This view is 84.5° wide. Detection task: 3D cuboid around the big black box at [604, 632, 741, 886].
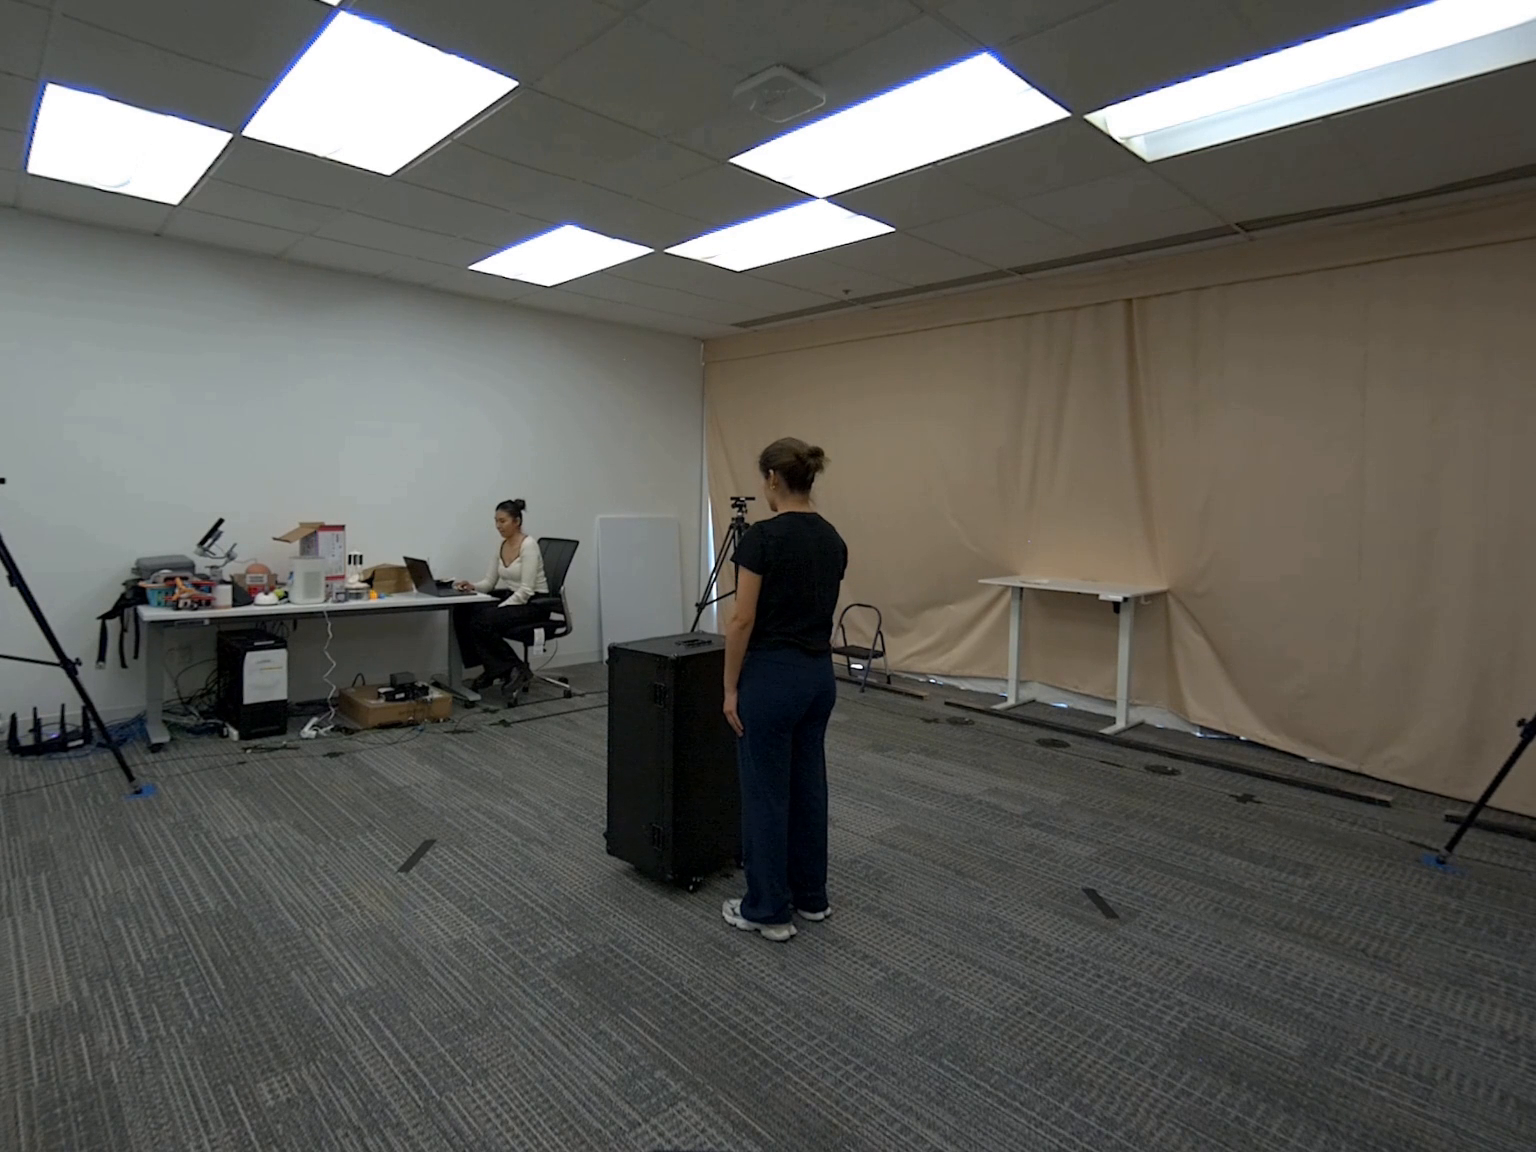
[{"bbox_3d":[-0.318,0.675,3.144,0.406,0.860,0.509,2,3,41],"label":"big black box"}]
